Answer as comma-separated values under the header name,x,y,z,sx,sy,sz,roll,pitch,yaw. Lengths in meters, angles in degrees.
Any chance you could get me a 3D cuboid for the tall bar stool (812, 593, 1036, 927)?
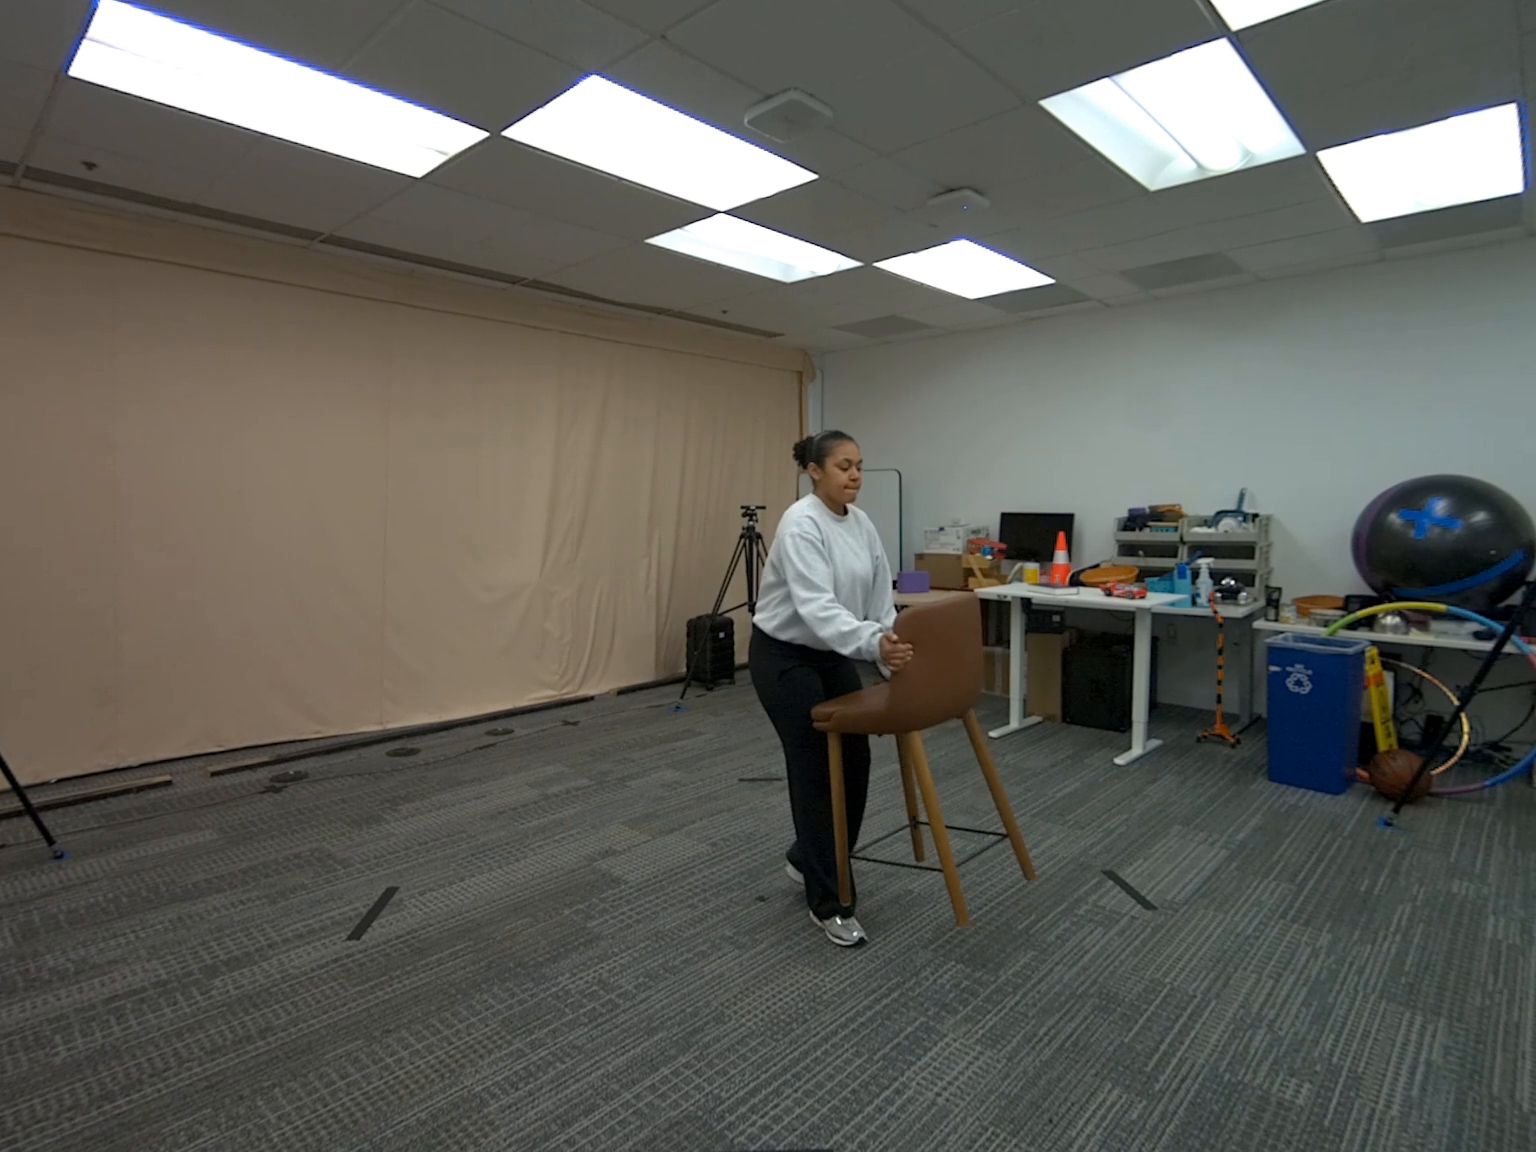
name,x,y,z,sx,sy,sz,roll,pitch,yaw
tall bar stool,0.446,0.539,2.574,0.443,0.891,0.480,-8,-2,-41
